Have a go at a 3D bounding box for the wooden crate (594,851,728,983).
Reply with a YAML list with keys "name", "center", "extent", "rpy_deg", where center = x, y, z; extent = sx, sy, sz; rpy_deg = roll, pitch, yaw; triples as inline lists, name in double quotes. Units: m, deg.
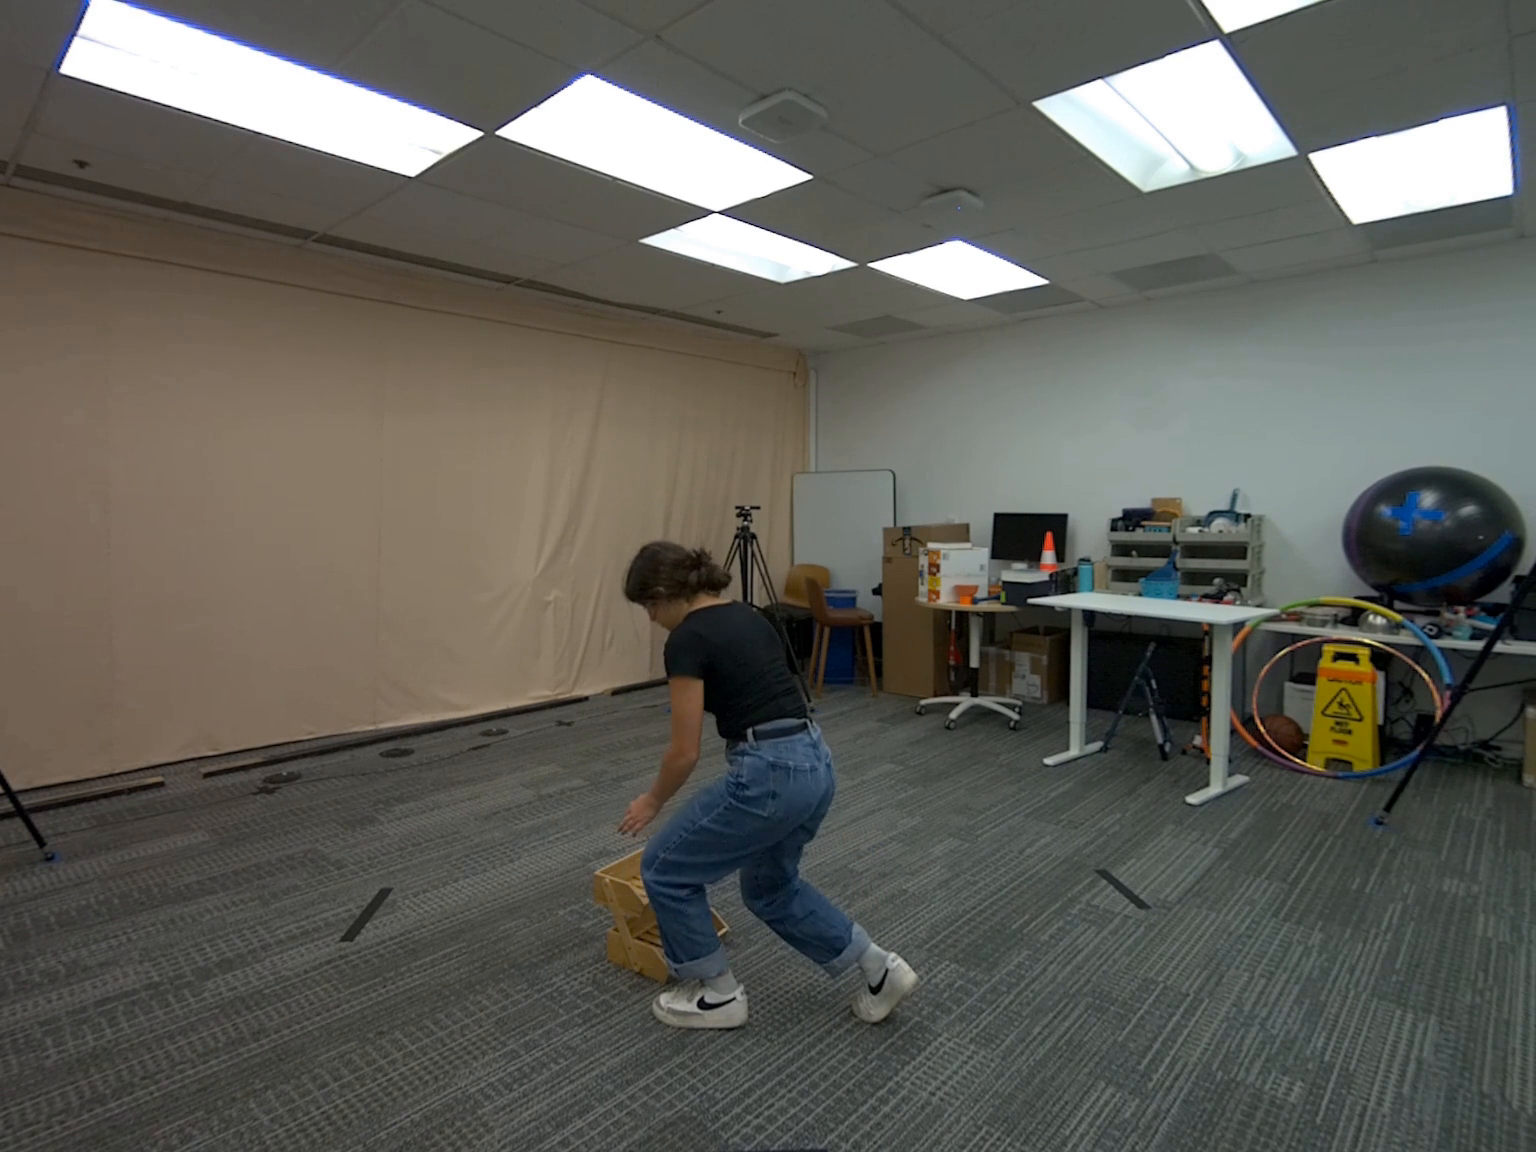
- name: "wooden crate"
  center: [-0.332, 1.043, 2.640]
  extent: [0.311, 0.273, 0.315]
  rpy_deg: [2, 4, 35]
